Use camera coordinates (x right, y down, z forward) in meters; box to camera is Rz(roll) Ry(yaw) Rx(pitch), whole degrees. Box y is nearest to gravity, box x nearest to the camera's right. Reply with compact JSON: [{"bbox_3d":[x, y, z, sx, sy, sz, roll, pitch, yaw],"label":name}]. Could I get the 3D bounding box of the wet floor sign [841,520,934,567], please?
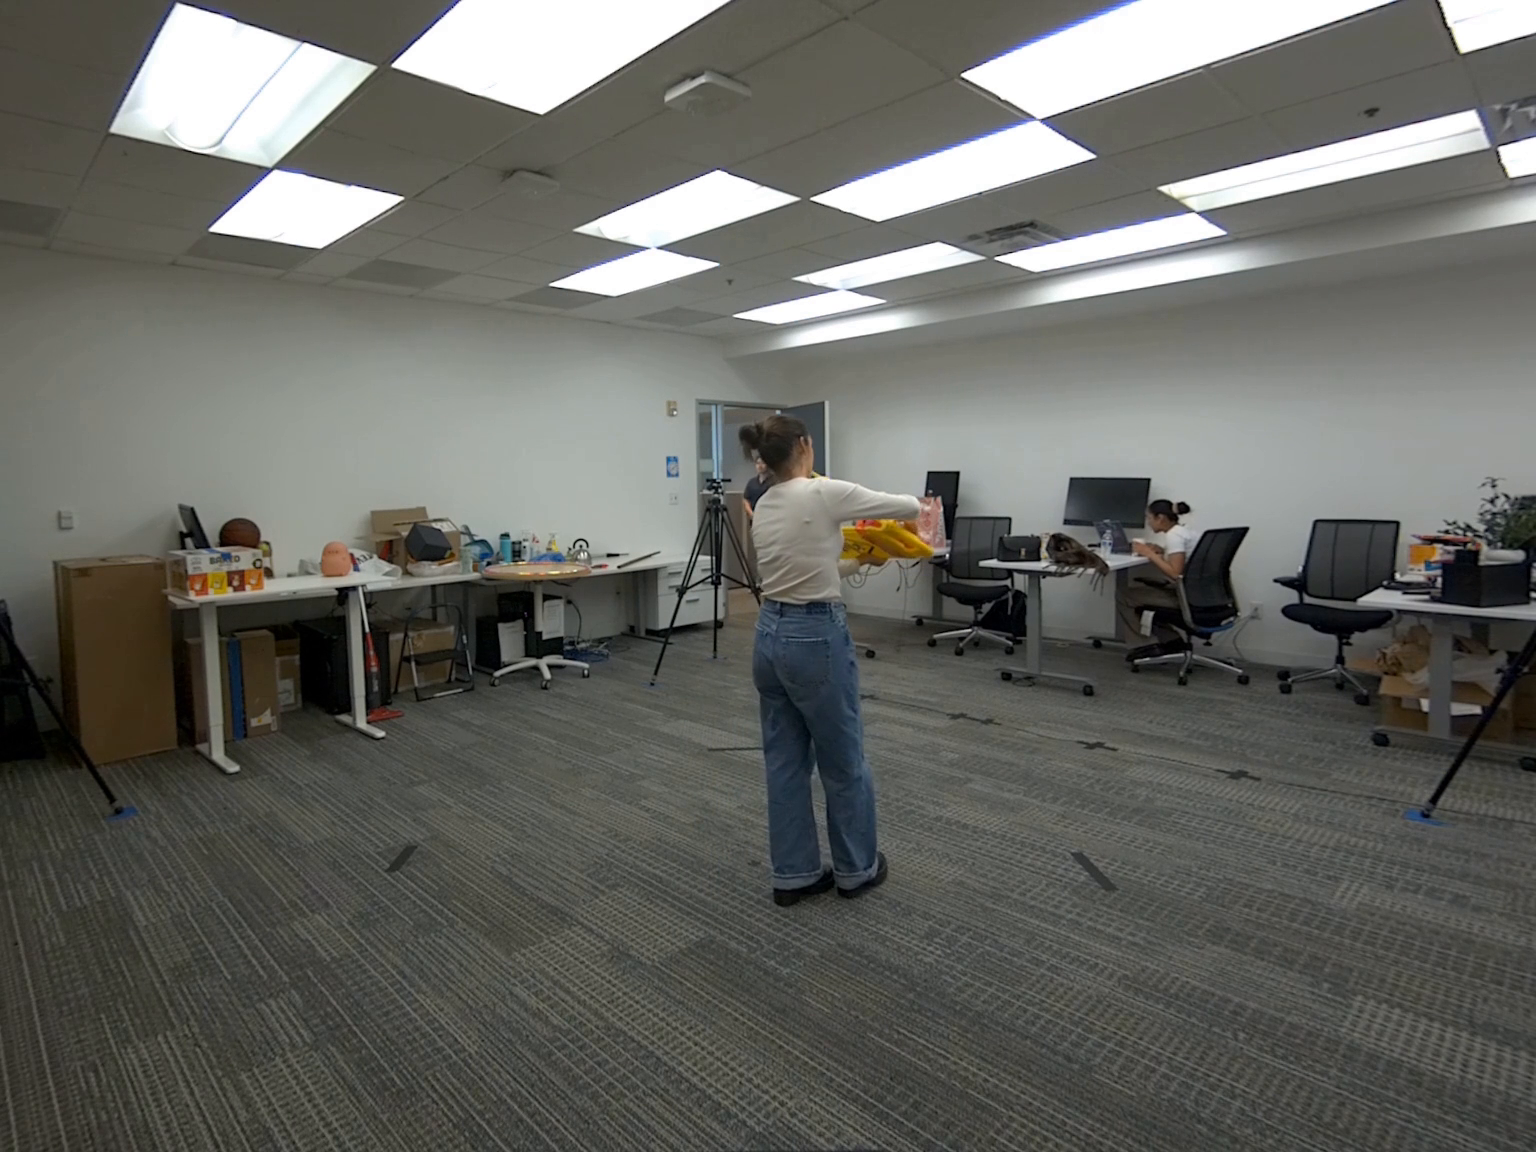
[{"bbox_3d":[0.352,-0.166,3.073,0.274,0.290,0.664,27,-1,-24],"label":"wet floor sign"}]
